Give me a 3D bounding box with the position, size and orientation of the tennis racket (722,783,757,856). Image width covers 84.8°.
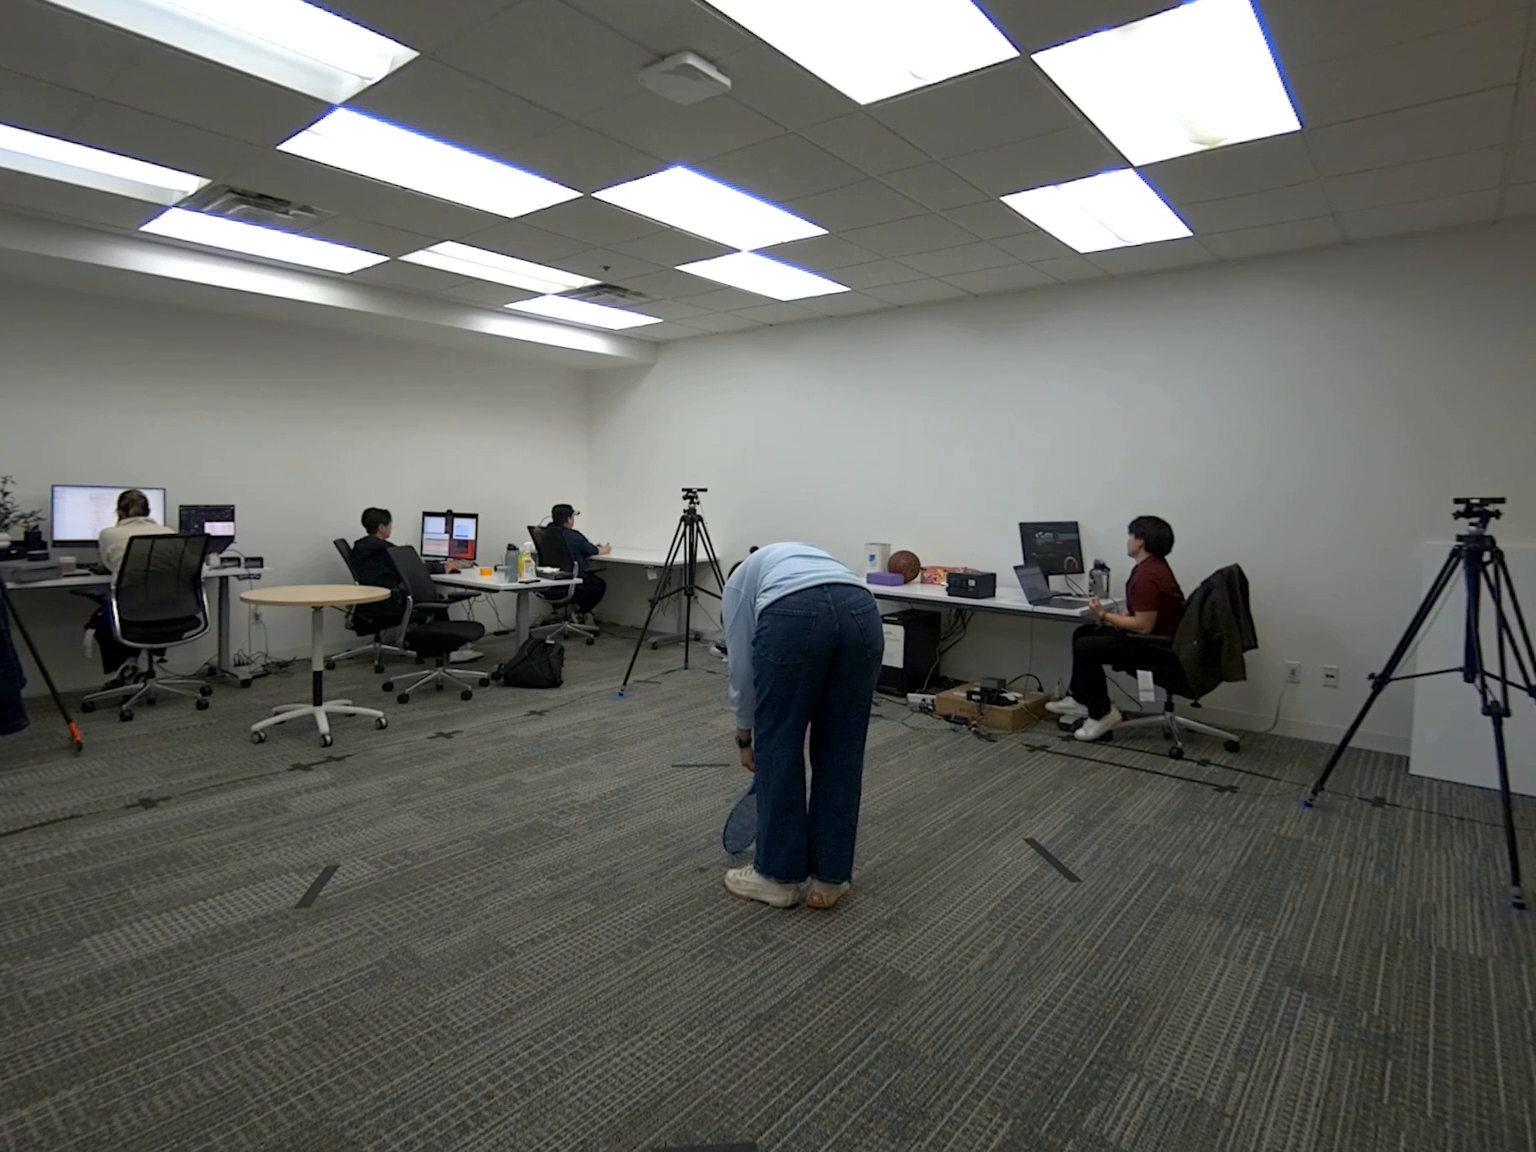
[{"bbox_3d":[-0.076,0.852,3.199,0.206,0.430,0.033,7,13,-44],"label":"tennis racket"}]
